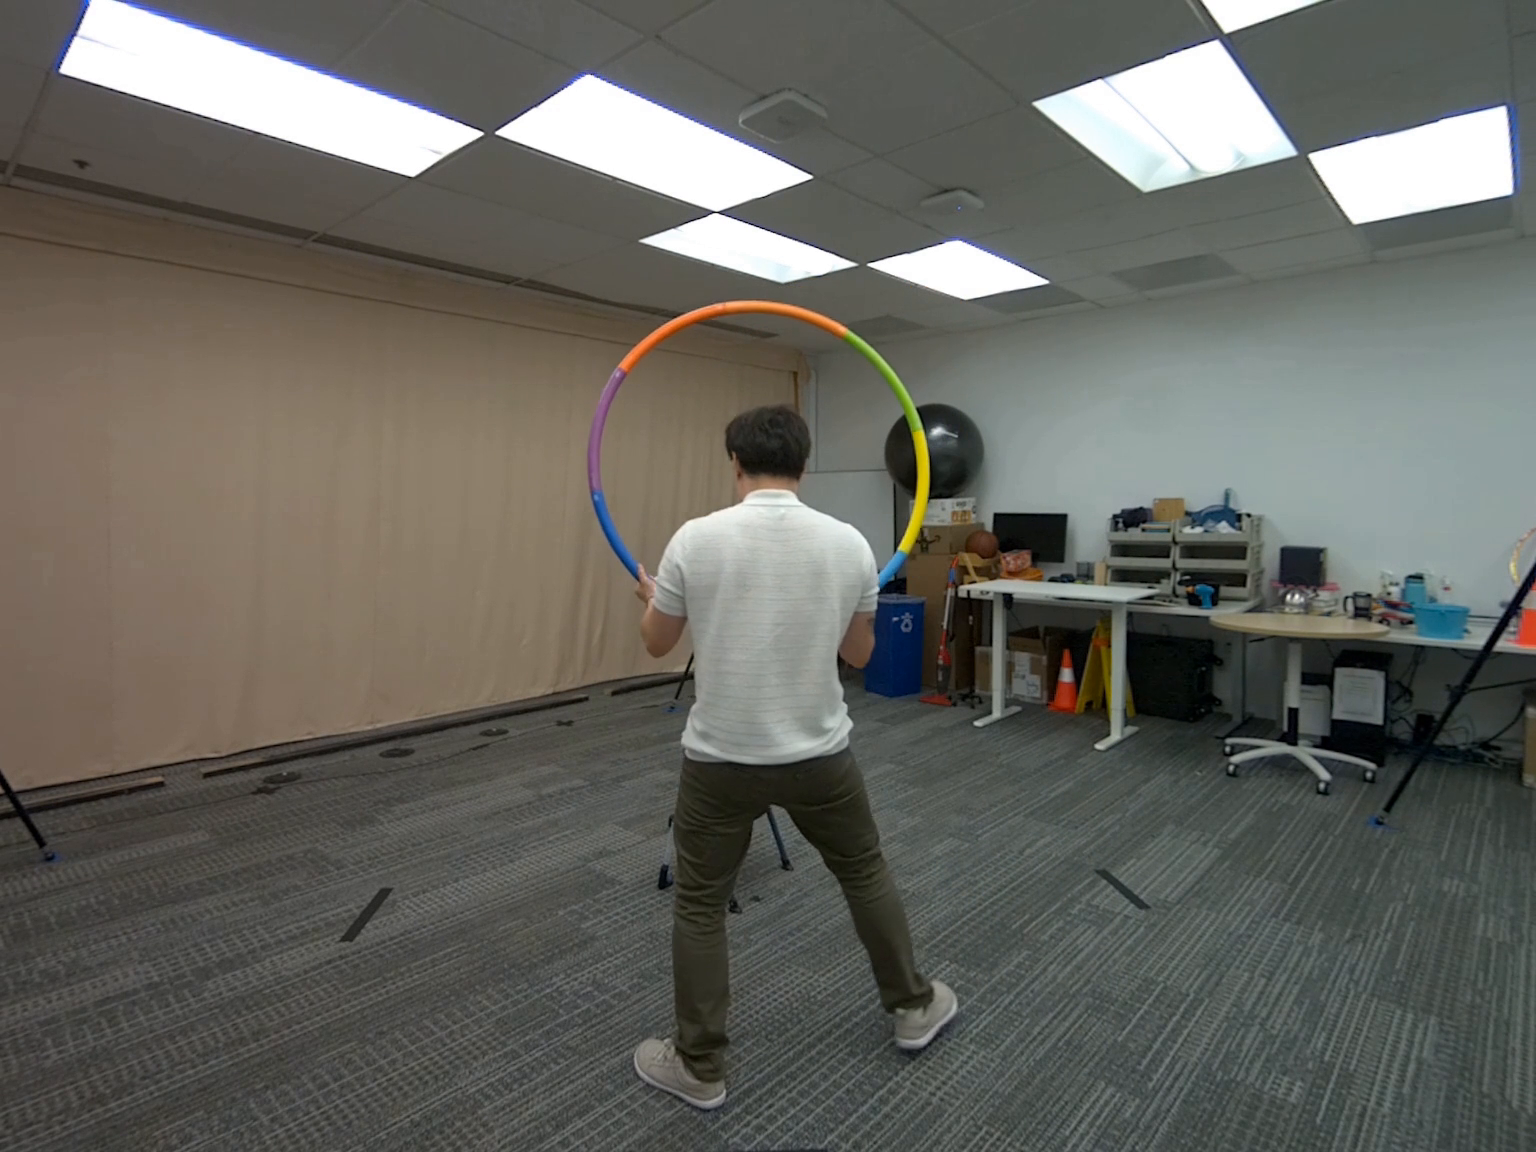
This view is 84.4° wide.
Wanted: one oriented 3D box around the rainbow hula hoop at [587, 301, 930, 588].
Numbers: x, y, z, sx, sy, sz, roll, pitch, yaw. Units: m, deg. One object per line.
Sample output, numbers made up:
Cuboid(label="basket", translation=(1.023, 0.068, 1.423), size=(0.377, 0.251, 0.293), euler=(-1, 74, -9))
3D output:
Cuboid(label="rainbow hula hoop", translation=(-0.005, -0.320, 2.397), size=(0.972, 0.985, 0.035), euler=(-1, -11, -6))
